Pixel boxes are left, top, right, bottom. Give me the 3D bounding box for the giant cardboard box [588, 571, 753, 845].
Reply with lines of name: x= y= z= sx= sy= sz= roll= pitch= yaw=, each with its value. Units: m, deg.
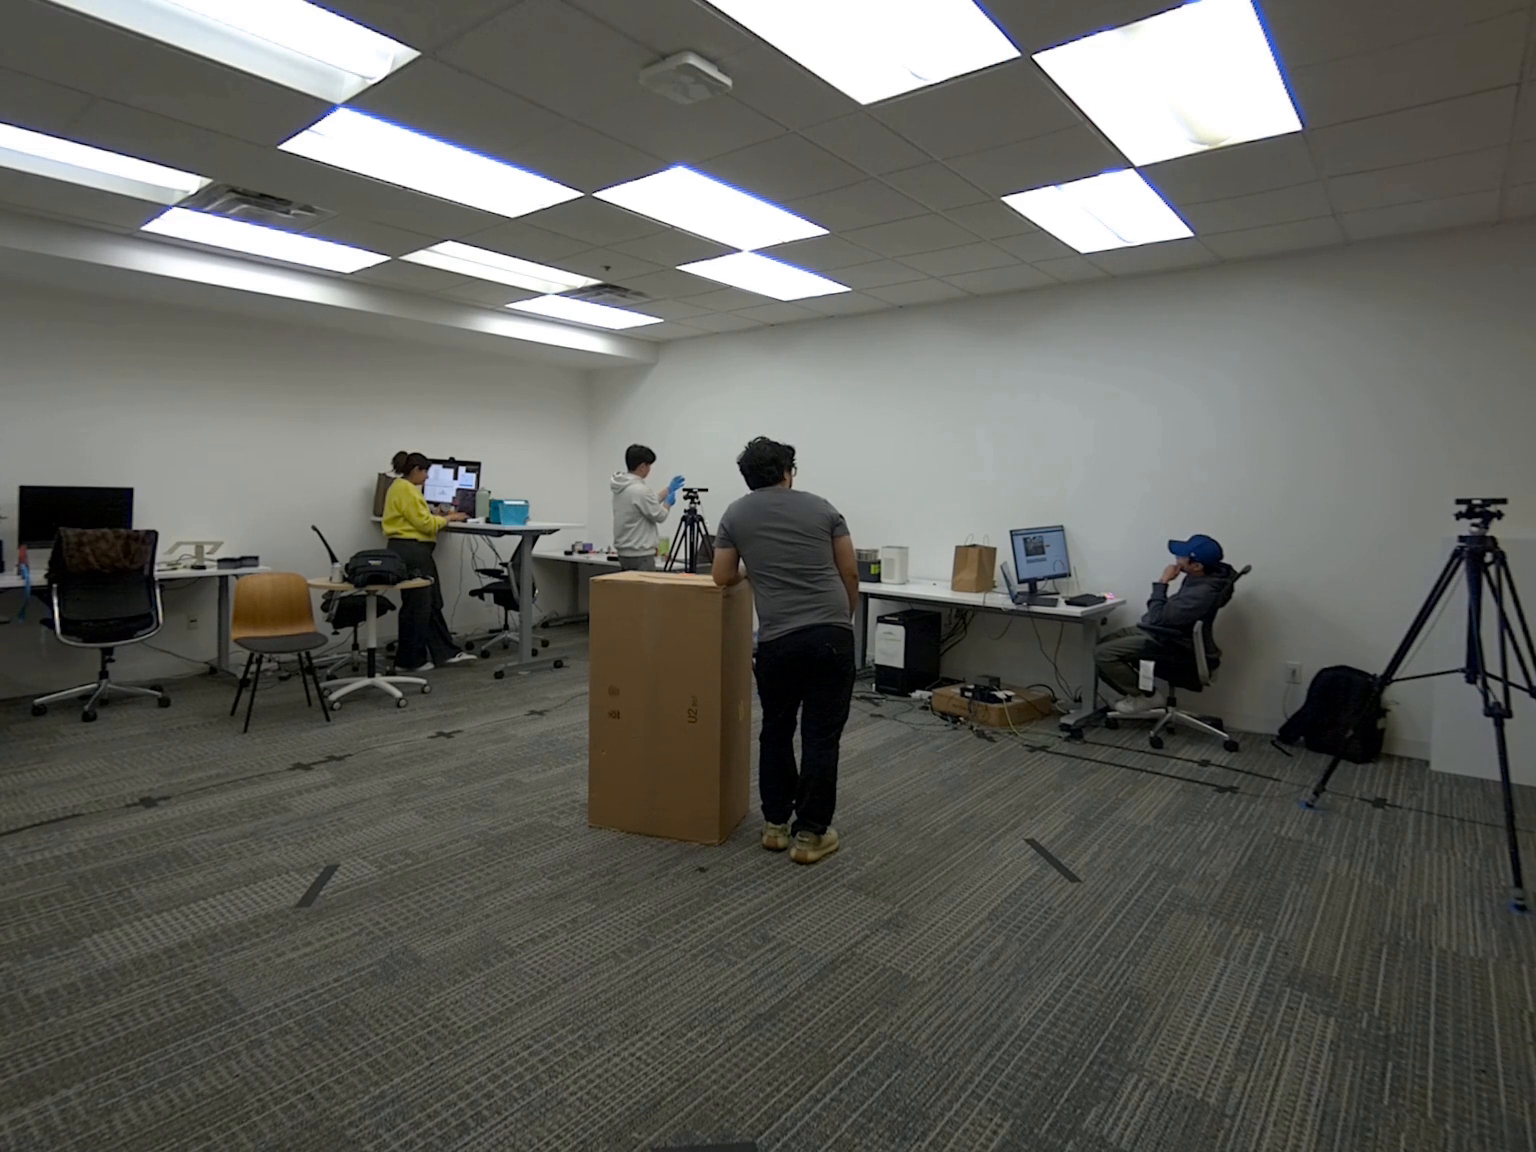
giant cardboard box: x=-0.418 y=0.512 z=3.587 sx=0.589 sy=1.023 sz=0.419 roll=2 pitch=3 yaw=19
